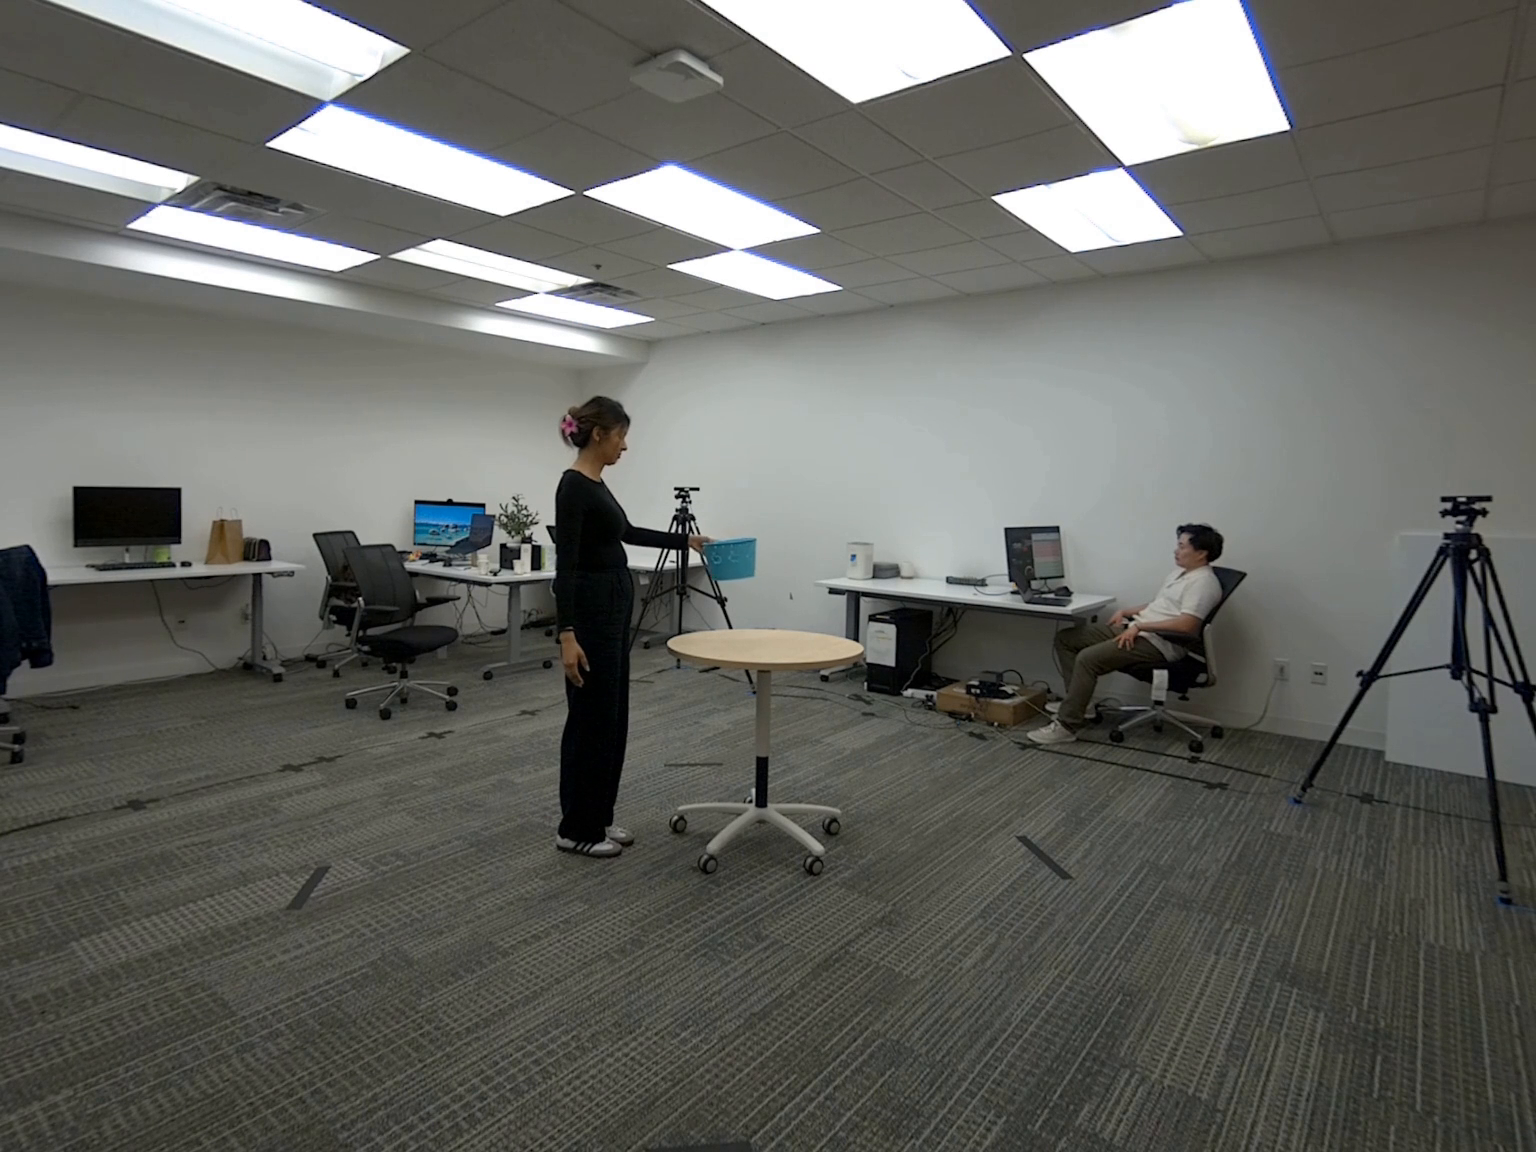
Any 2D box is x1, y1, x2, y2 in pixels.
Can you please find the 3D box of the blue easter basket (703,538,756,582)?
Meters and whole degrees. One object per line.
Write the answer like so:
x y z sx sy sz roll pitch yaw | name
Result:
-0.163 -0.072 3.476 0.243 0.155 0.245 -4 5 -2 | blue easter basket
